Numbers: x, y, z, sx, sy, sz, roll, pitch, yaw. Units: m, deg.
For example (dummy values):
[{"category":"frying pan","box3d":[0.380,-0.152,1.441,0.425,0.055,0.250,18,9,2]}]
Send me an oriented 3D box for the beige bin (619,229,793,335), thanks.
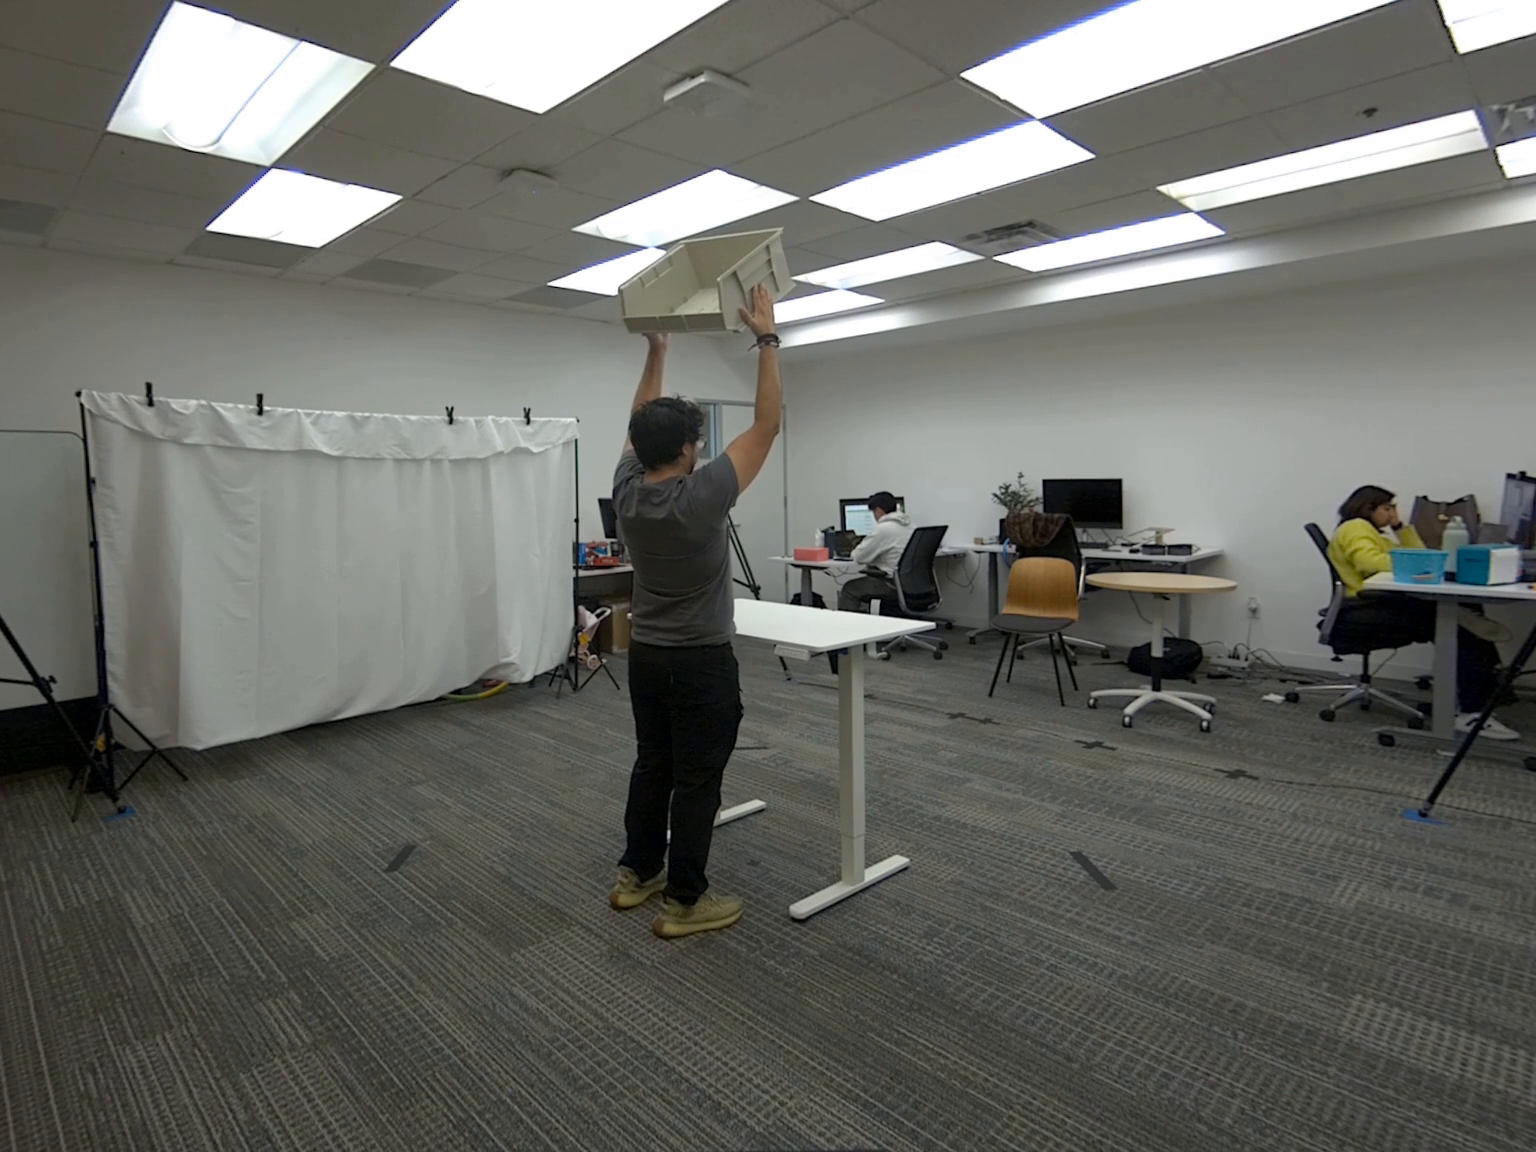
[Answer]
[{"category":"beige bin","box3d":[-0.190,-0.889,2.646,0.436,0.183,0.377,10,44,38]}]
